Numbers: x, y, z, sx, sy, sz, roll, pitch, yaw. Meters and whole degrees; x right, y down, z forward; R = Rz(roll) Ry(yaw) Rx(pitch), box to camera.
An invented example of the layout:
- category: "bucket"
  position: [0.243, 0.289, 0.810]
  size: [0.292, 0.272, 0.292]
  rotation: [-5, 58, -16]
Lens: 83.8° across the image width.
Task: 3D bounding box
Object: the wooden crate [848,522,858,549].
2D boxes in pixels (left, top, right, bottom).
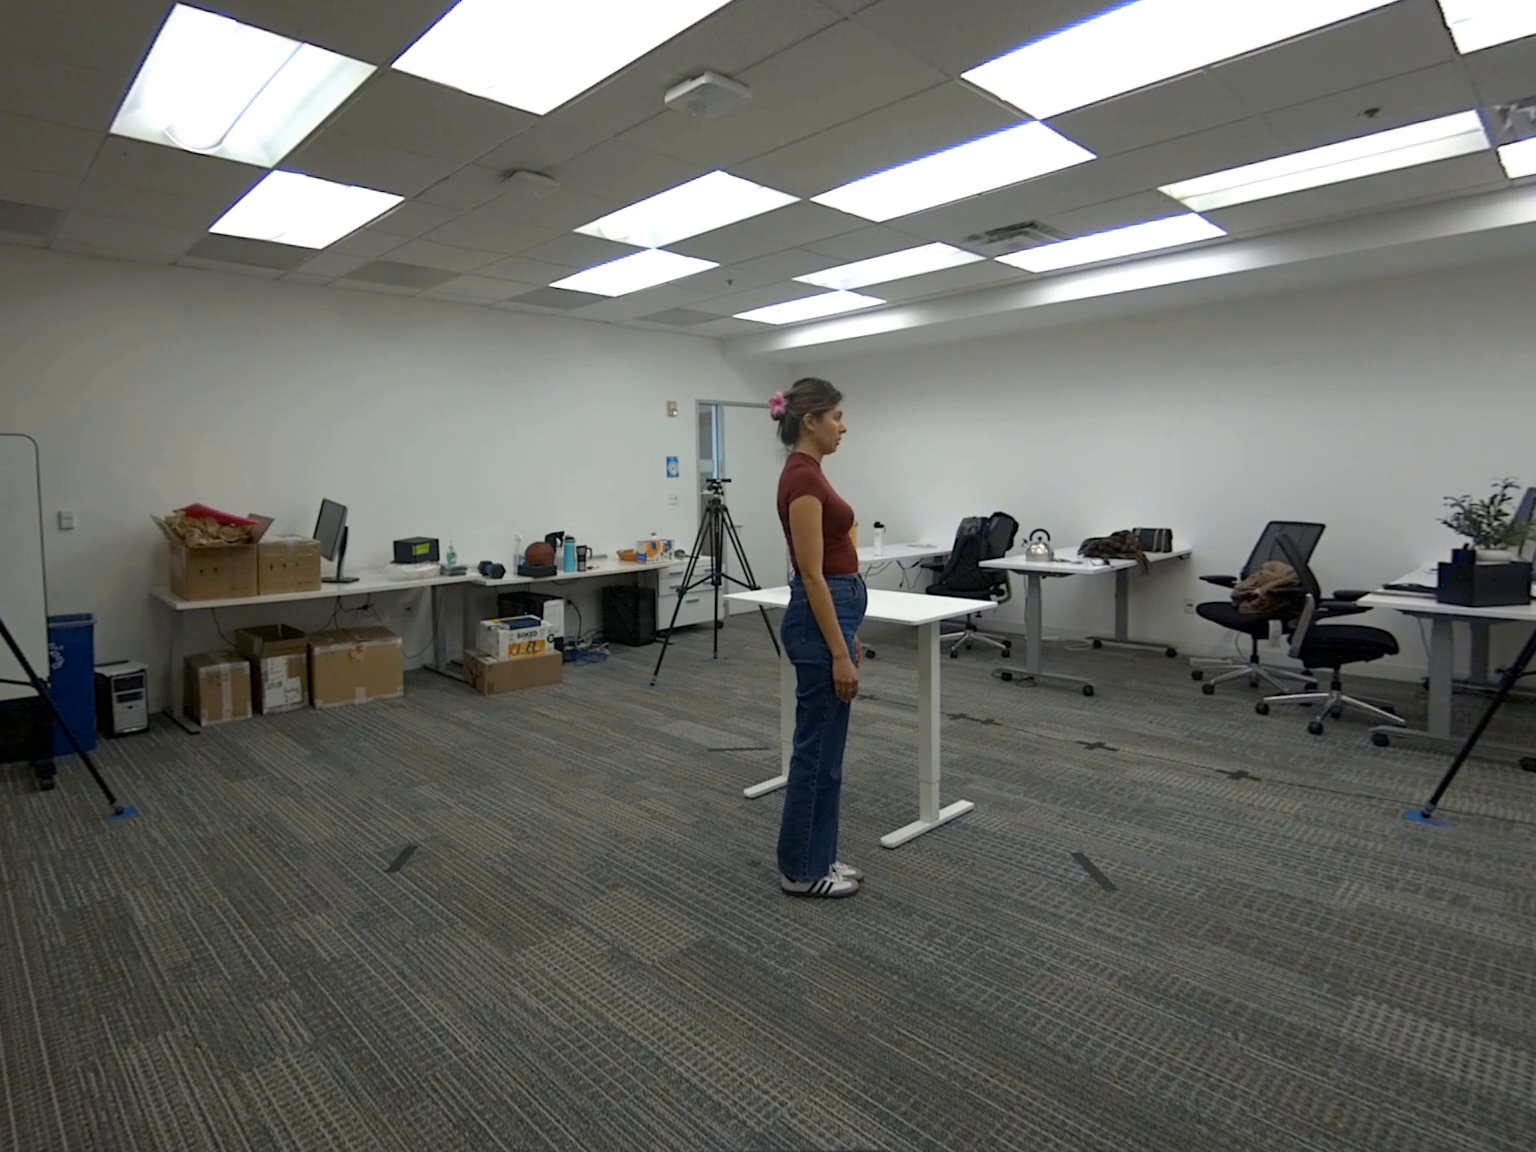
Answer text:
- category: "wooden crate"
  position: [0.278, -0.091, 3.871]
  size: [0.275, 0.323, 0.302]
  rotation: [-1, 5, 5]
